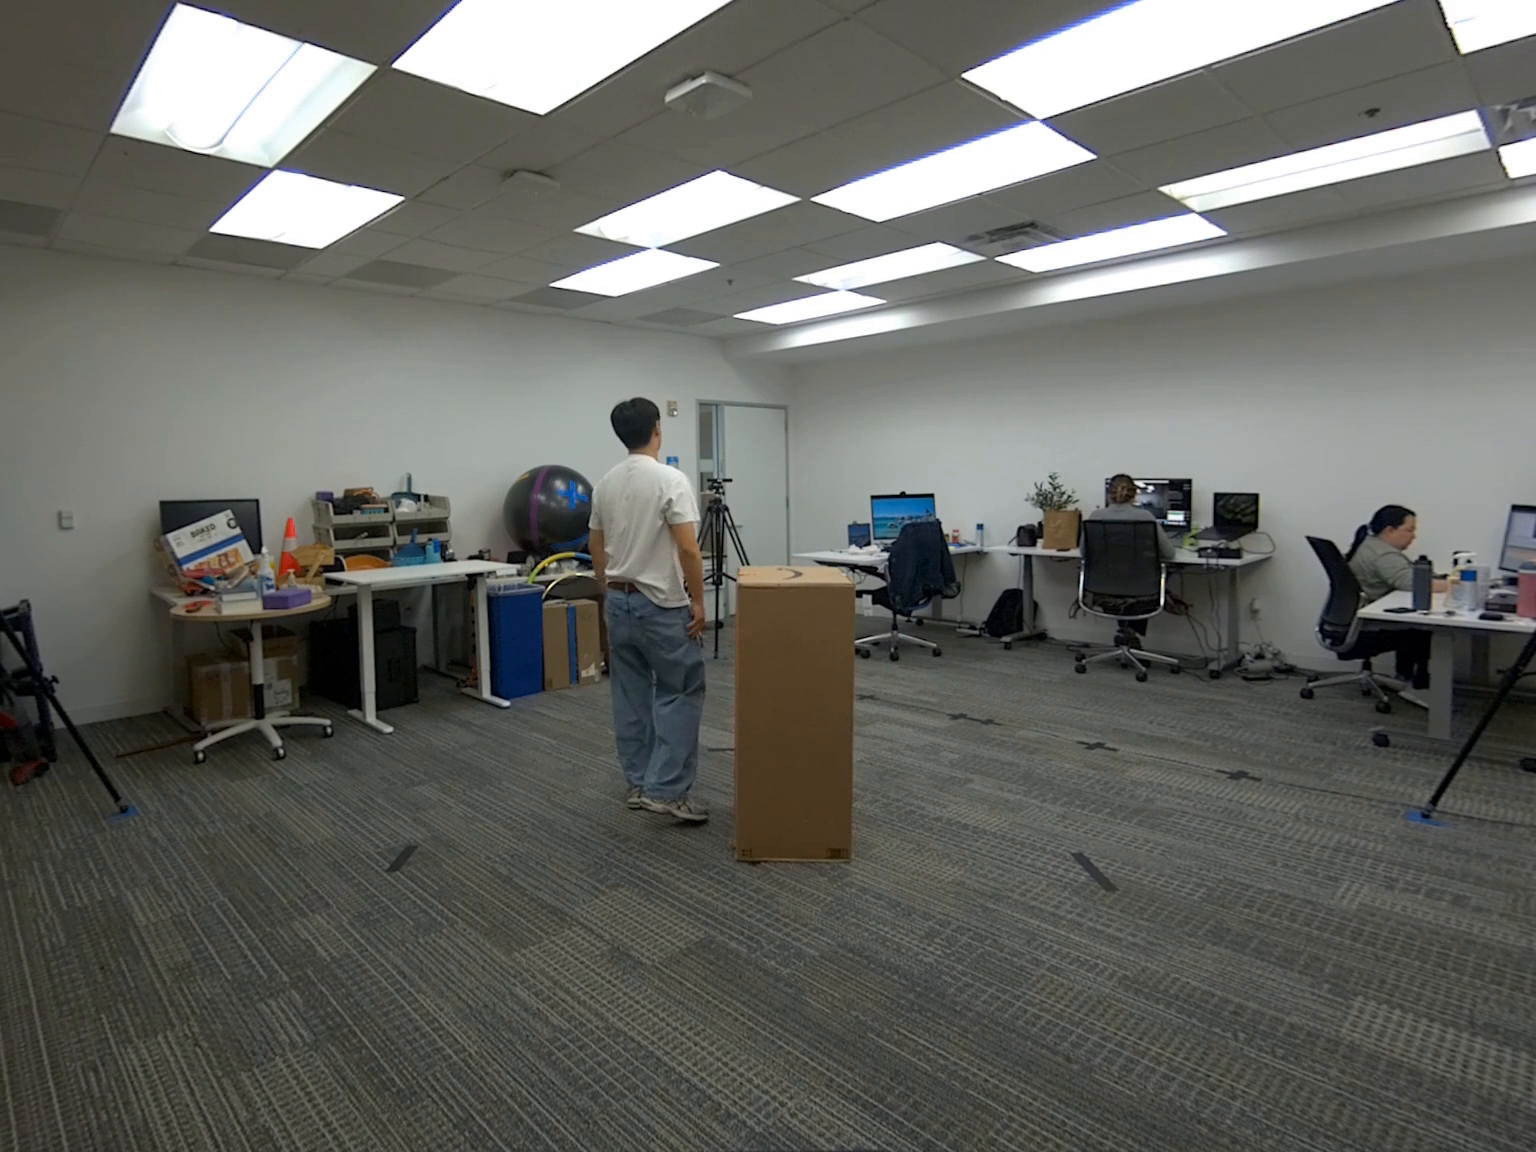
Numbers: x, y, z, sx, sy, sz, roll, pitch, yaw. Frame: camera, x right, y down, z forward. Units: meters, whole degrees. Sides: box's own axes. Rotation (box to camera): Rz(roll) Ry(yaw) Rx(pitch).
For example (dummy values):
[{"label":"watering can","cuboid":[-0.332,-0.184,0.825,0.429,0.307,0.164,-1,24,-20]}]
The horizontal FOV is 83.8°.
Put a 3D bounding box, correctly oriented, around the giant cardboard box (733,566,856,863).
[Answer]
[{"label":"giant cardboard box","cuboid":[0.089,0.503,3.351,0.427,1.022,0.579,0,4,1]}]
